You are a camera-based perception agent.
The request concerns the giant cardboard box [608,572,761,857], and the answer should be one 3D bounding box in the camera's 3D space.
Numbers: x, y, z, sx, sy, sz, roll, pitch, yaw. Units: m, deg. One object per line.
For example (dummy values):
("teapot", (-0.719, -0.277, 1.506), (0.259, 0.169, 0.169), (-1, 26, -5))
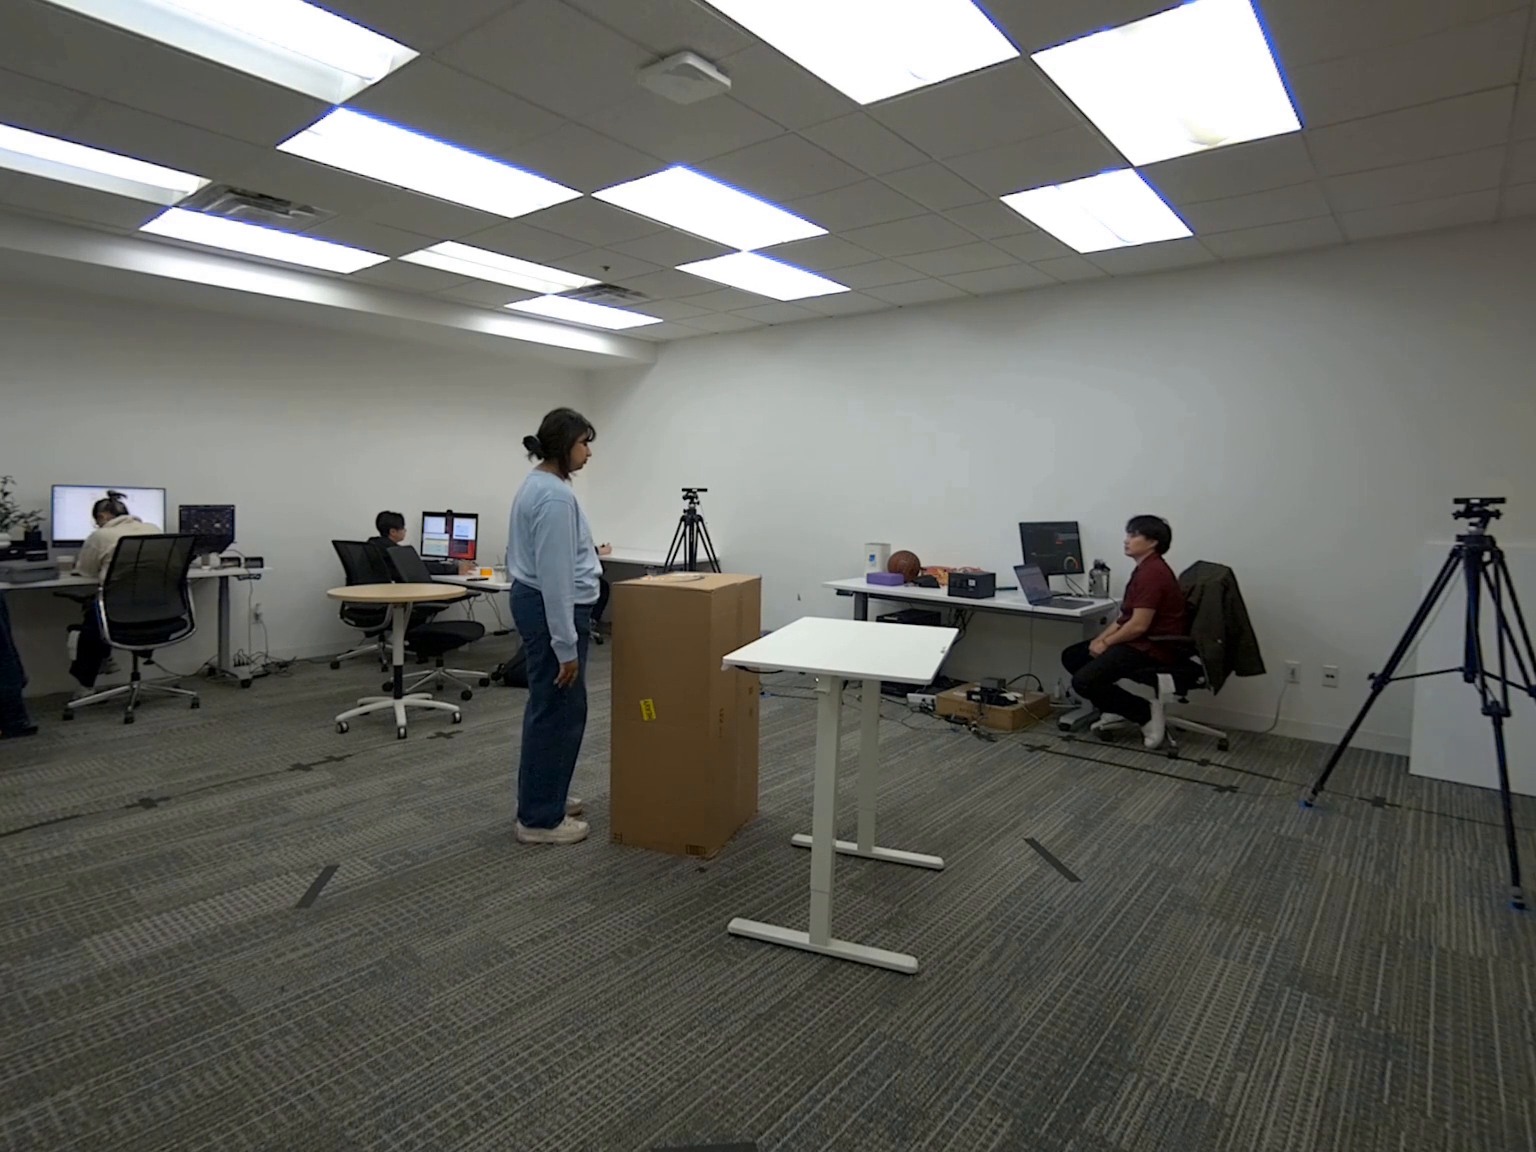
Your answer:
("giant cardboard box", (-0.333, 0.523, 3.502), (0.436, 1.023, 0.567), (2, 3, 20))
